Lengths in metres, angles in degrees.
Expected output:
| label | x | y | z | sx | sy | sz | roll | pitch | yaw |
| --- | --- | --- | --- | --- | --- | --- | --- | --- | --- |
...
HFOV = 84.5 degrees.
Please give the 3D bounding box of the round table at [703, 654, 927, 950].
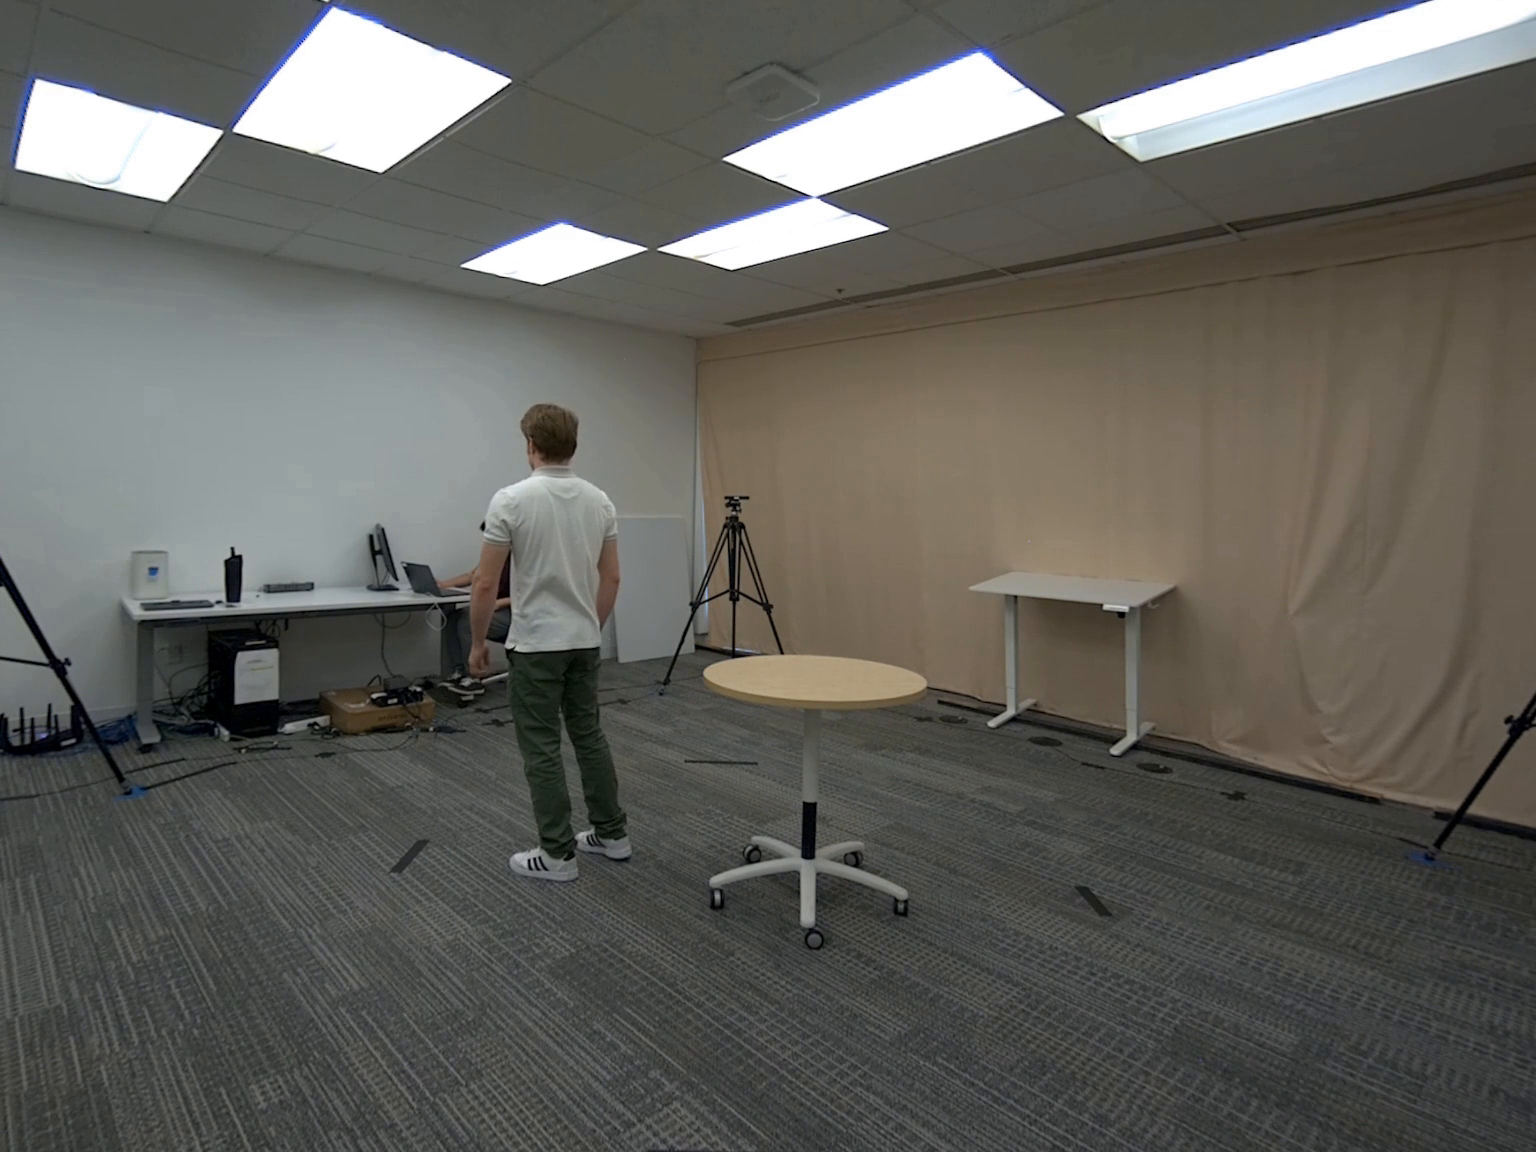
| label | x | y | z | sx | sy | sz | roll | pitch | yaw |
| --- | --- | --- | --- | --- | --- | --- | --- | --- | --- |
| round table | 0.143 | 0.736 | 2.928 | 0.763 | 0.792 | 0.766 | 1 | 4 | -1 |
